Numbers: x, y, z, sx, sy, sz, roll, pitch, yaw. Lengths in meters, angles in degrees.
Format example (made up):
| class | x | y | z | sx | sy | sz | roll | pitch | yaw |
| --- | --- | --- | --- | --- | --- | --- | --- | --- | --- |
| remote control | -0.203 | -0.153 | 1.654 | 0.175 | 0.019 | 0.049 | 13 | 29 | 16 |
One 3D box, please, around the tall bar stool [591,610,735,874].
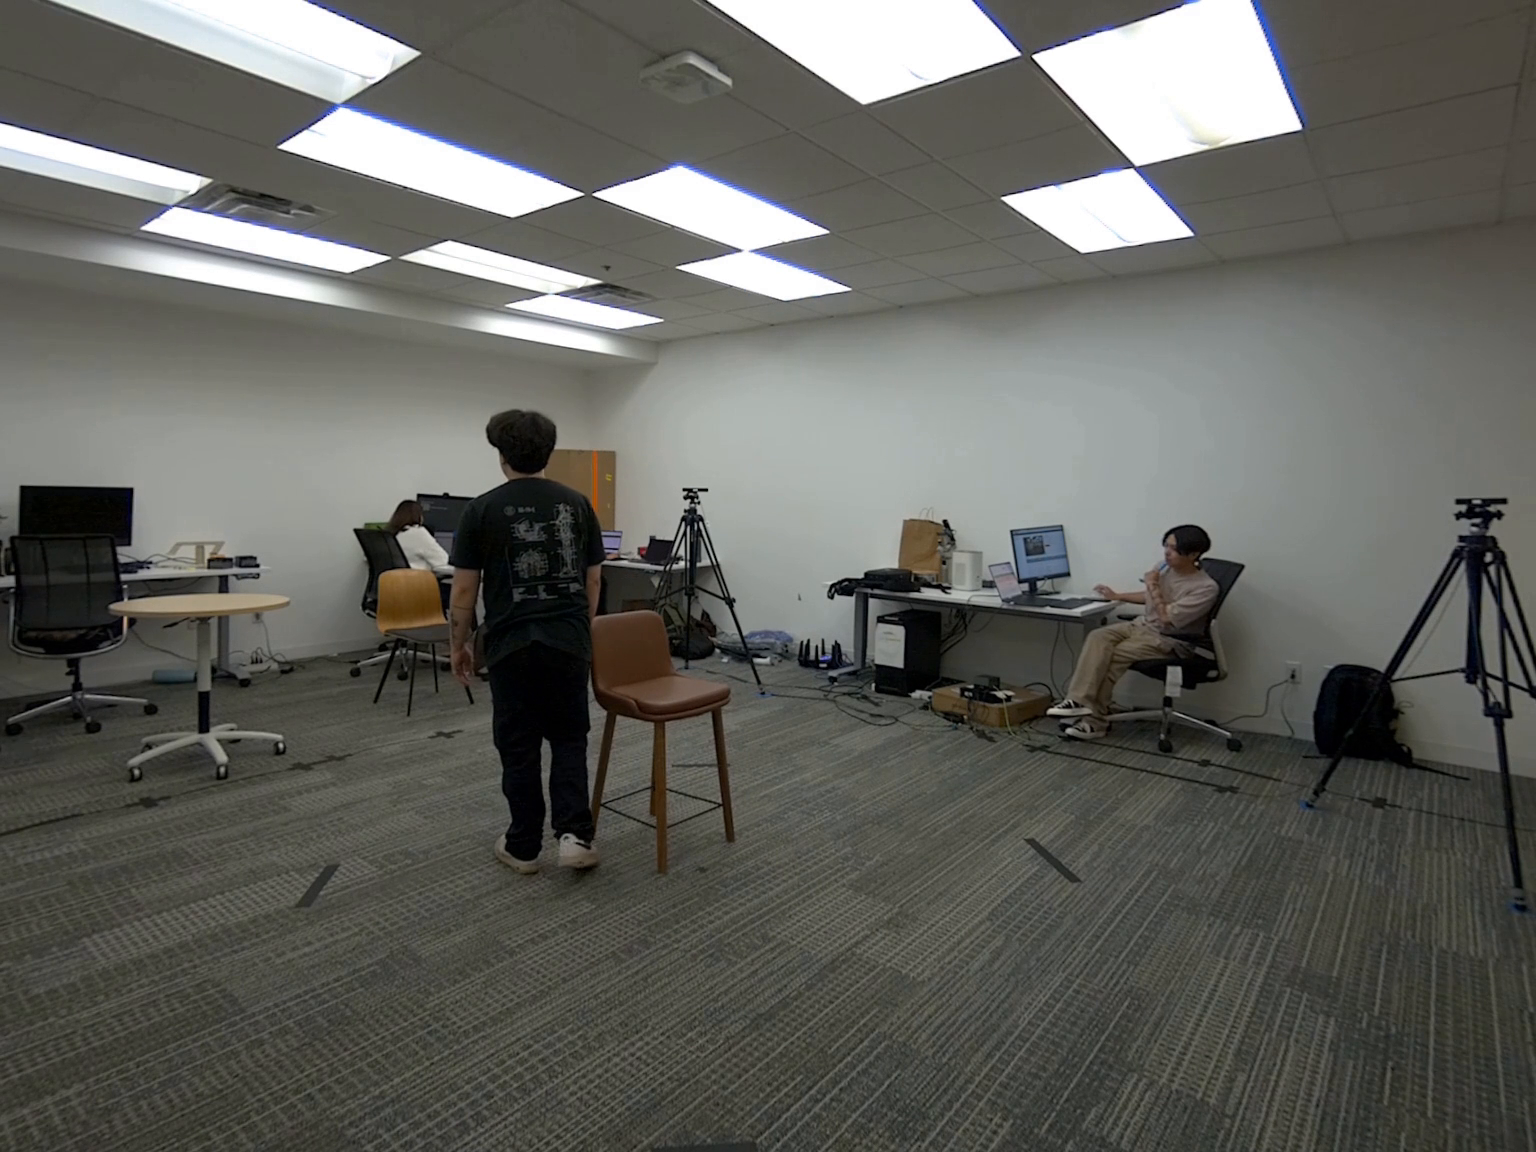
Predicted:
| class | x | y | z | sx | sy | sz | roll | pitch | yaw |
| --- | --- | --- | --- | --- | --- | --- | --- | --- | --- |
| tall bar stool | -0.432 | 0.607 | 3.349 | 0.483 | 0.888 | 0.443 | 1 | 2 | 40 |
